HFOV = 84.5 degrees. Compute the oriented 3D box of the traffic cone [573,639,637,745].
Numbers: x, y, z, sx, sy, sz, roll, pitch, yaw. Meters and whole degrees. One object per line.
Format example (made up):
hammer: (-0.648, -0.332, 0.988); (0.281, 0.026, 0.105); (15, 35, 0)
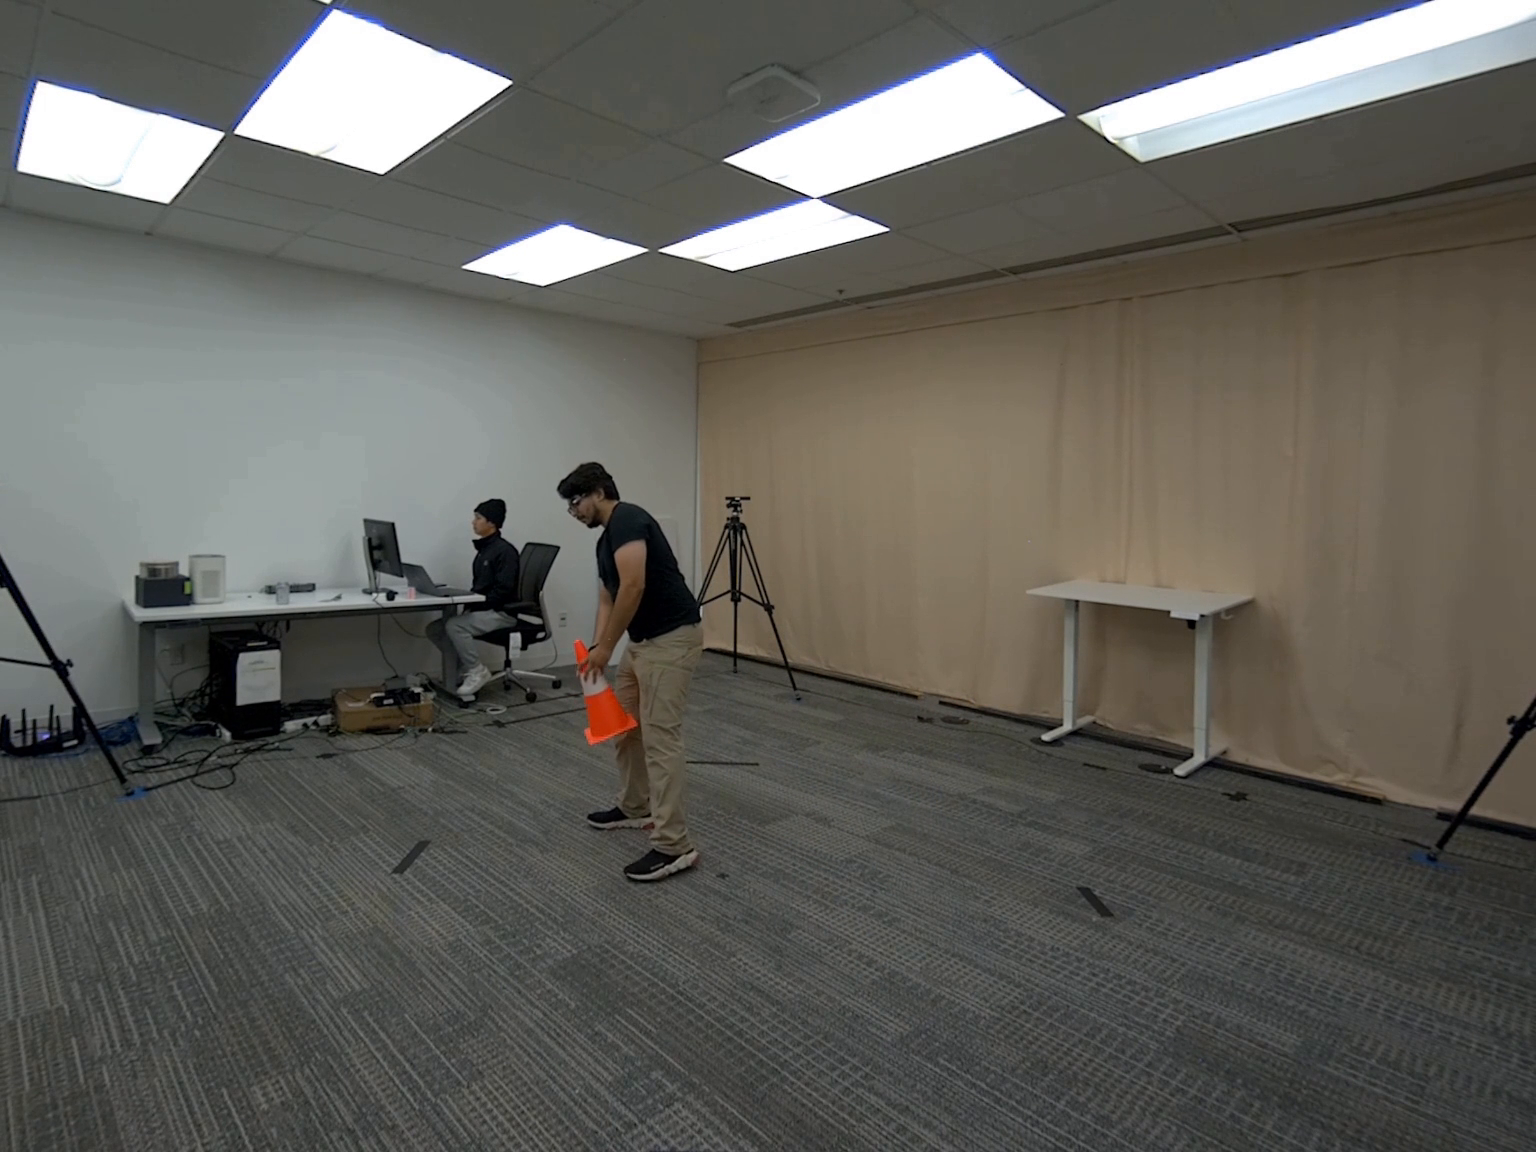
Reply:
traffic cone: (-0.695, 0.435, 3.319); (0.203, 0.380, 0.206); (-22, 10, -15)
